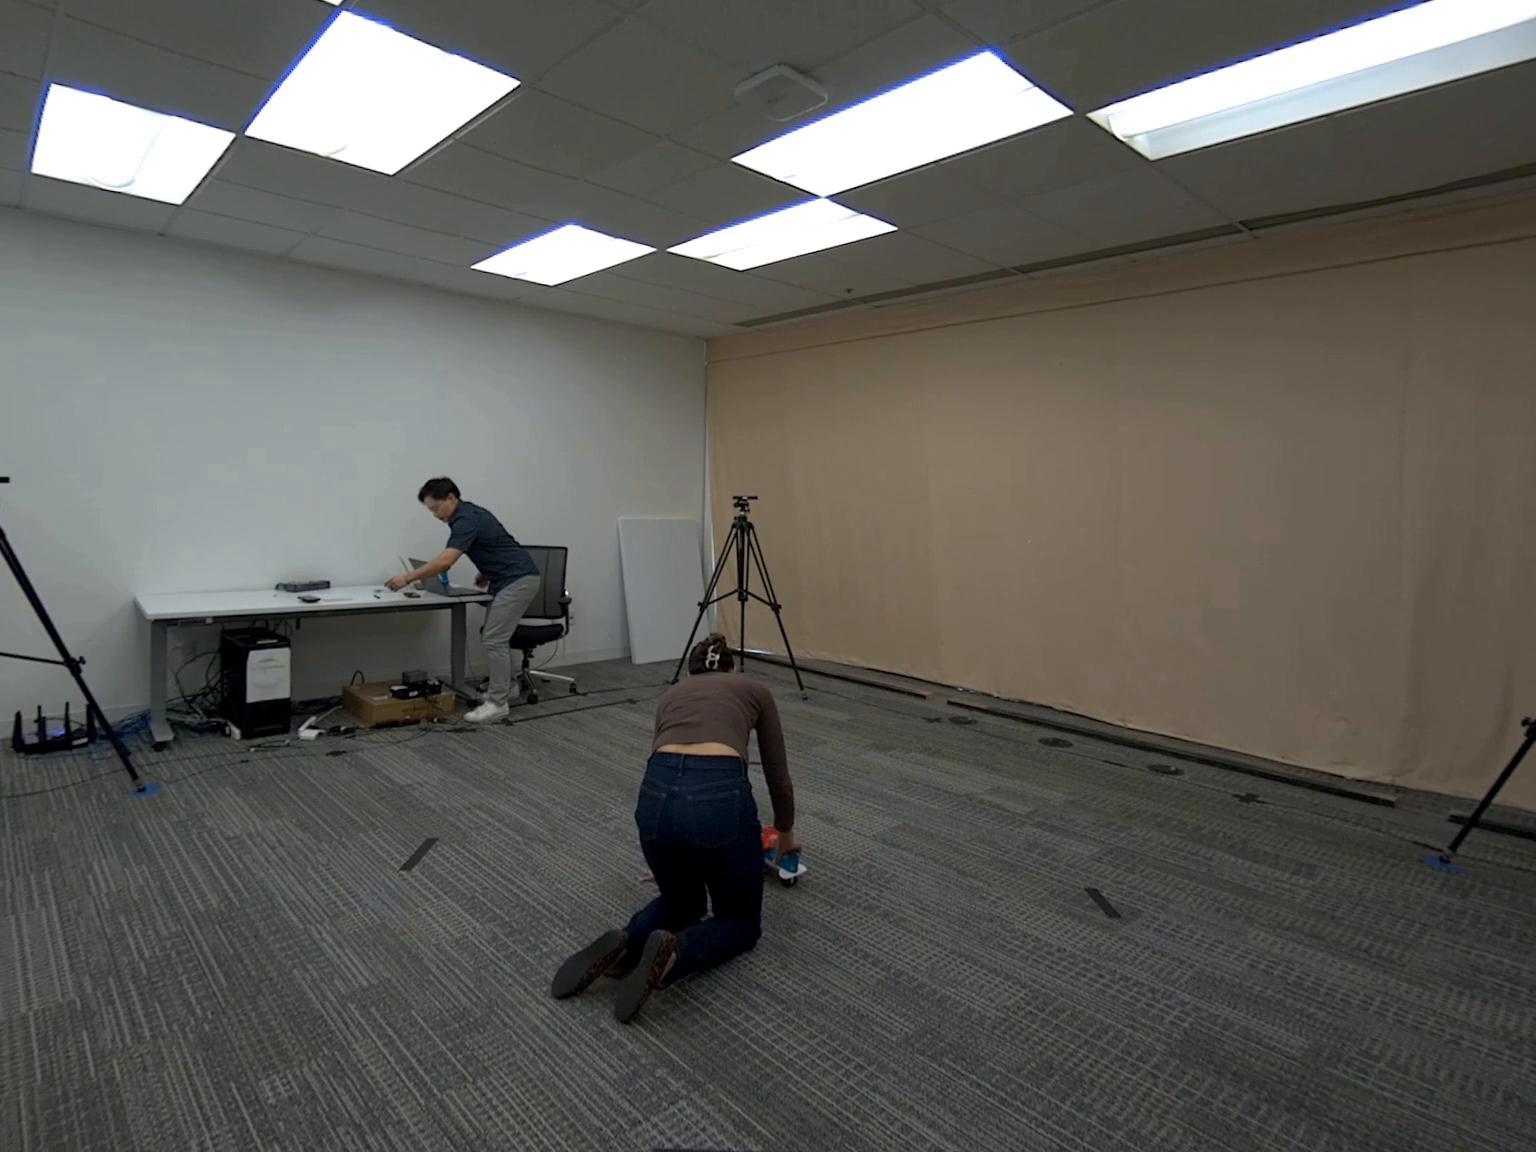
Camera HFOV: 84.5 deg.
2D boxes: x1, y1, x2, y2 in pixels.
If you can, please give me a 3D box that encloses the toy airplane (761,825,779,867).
[{"bbox_3d":[0.018,1.037,3.102,0.263,0.156,0.248,1,5,16],"label":"toy airplane"}]
